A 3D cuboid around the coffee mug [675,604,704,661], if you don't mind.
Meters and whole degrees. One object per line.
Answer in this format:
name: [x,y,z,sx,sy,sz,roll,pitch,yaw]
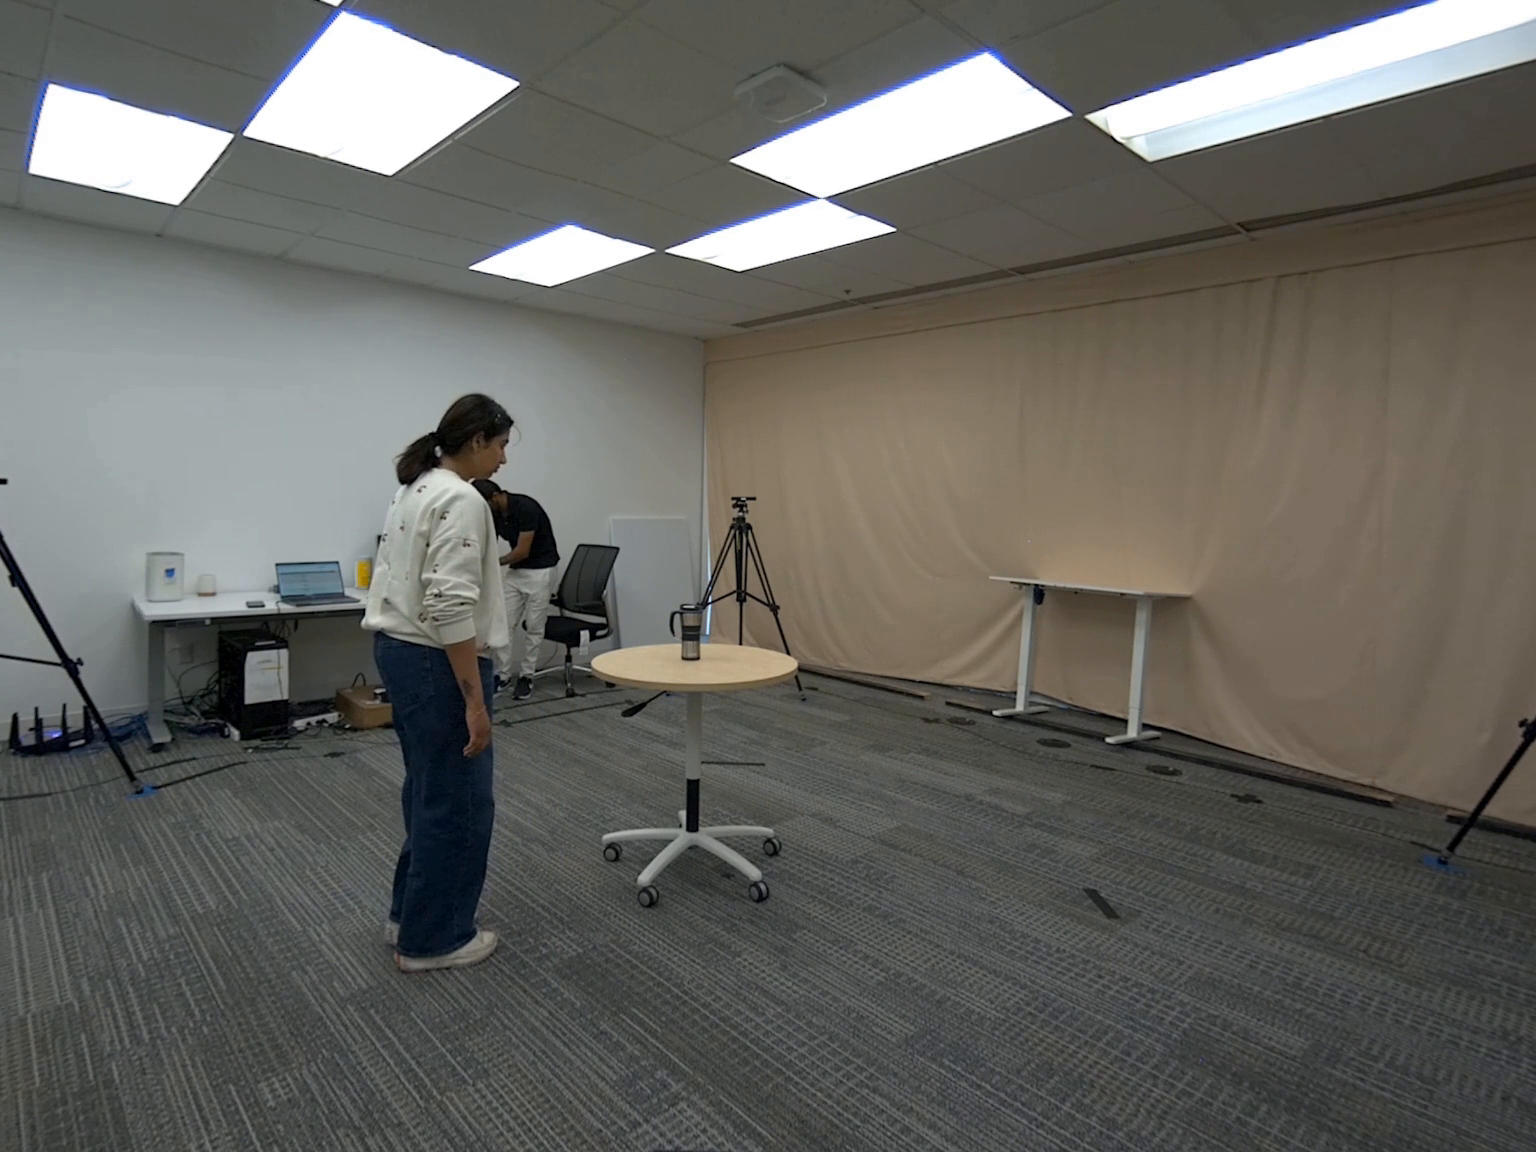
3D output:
coffee mug: [-0.317,0.214,3.176,0.124,0.202,0.087,5,6,17]
